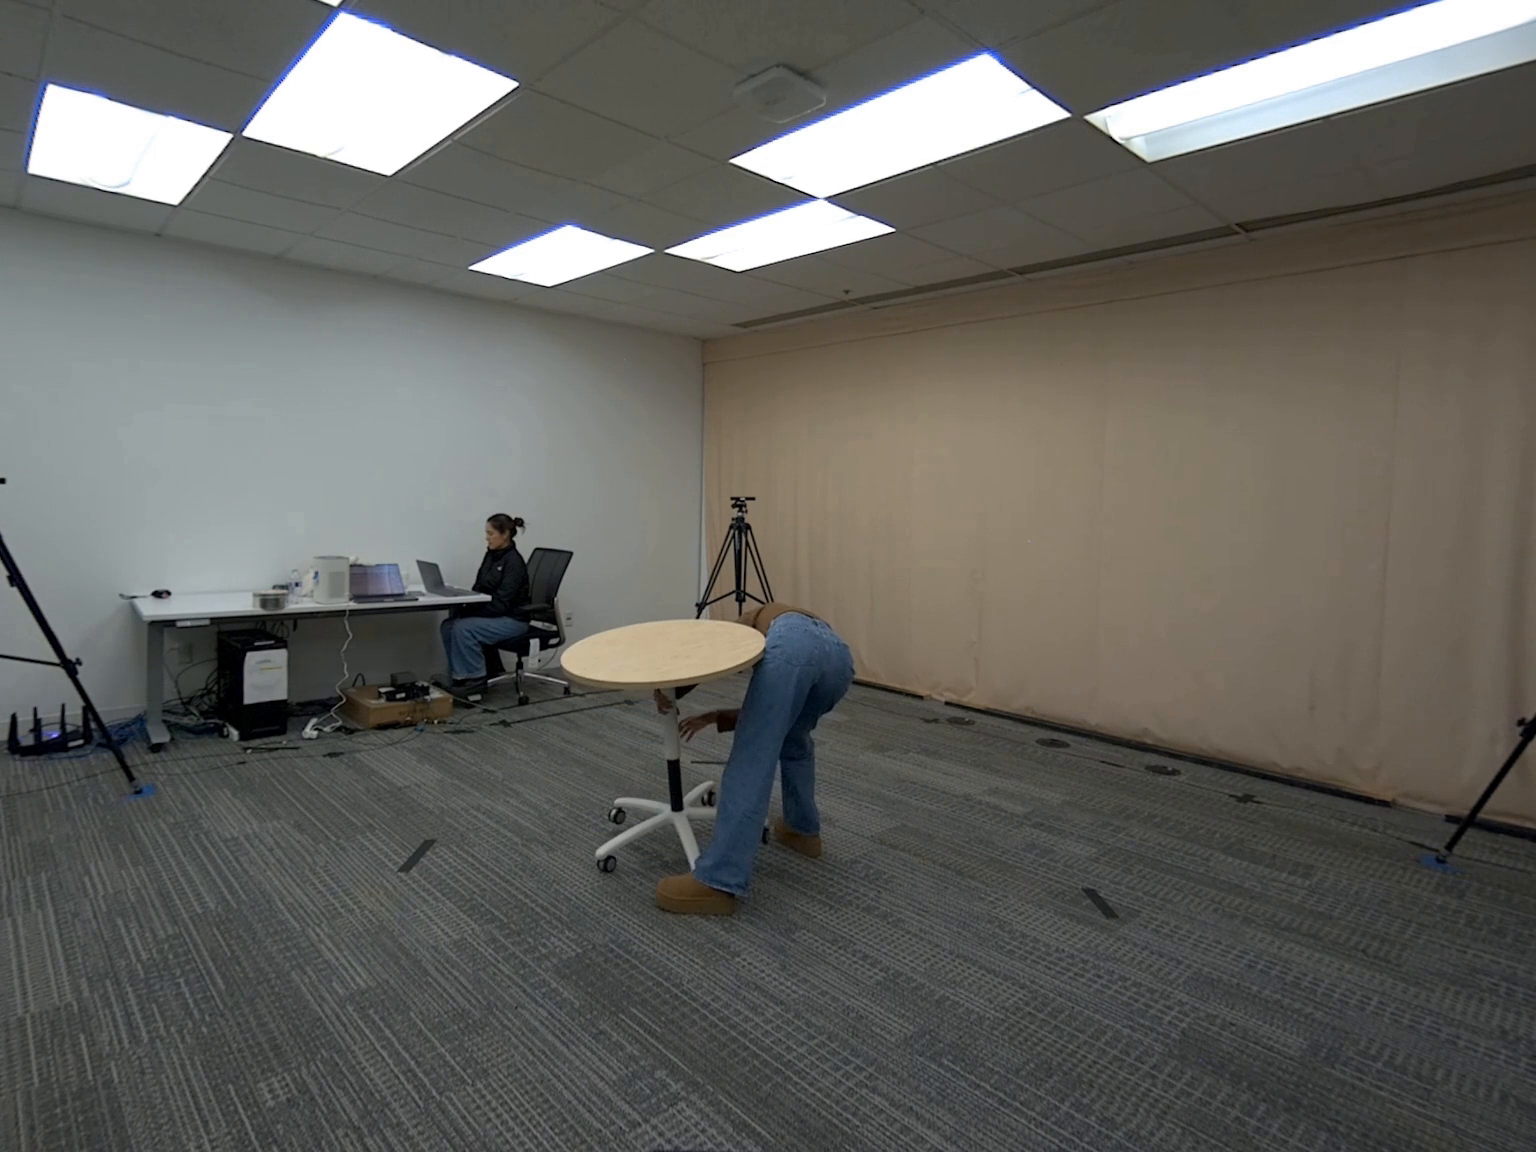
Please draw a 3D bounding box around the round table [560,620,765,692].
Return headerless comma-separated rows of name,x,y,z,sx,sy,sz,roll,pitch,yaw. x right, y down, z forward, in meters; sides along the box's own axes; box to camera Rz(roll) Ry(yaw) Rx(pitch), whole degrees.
round table,-0.378,0.663,3.223,0.764,0.787,0.770,-4,11,-1
